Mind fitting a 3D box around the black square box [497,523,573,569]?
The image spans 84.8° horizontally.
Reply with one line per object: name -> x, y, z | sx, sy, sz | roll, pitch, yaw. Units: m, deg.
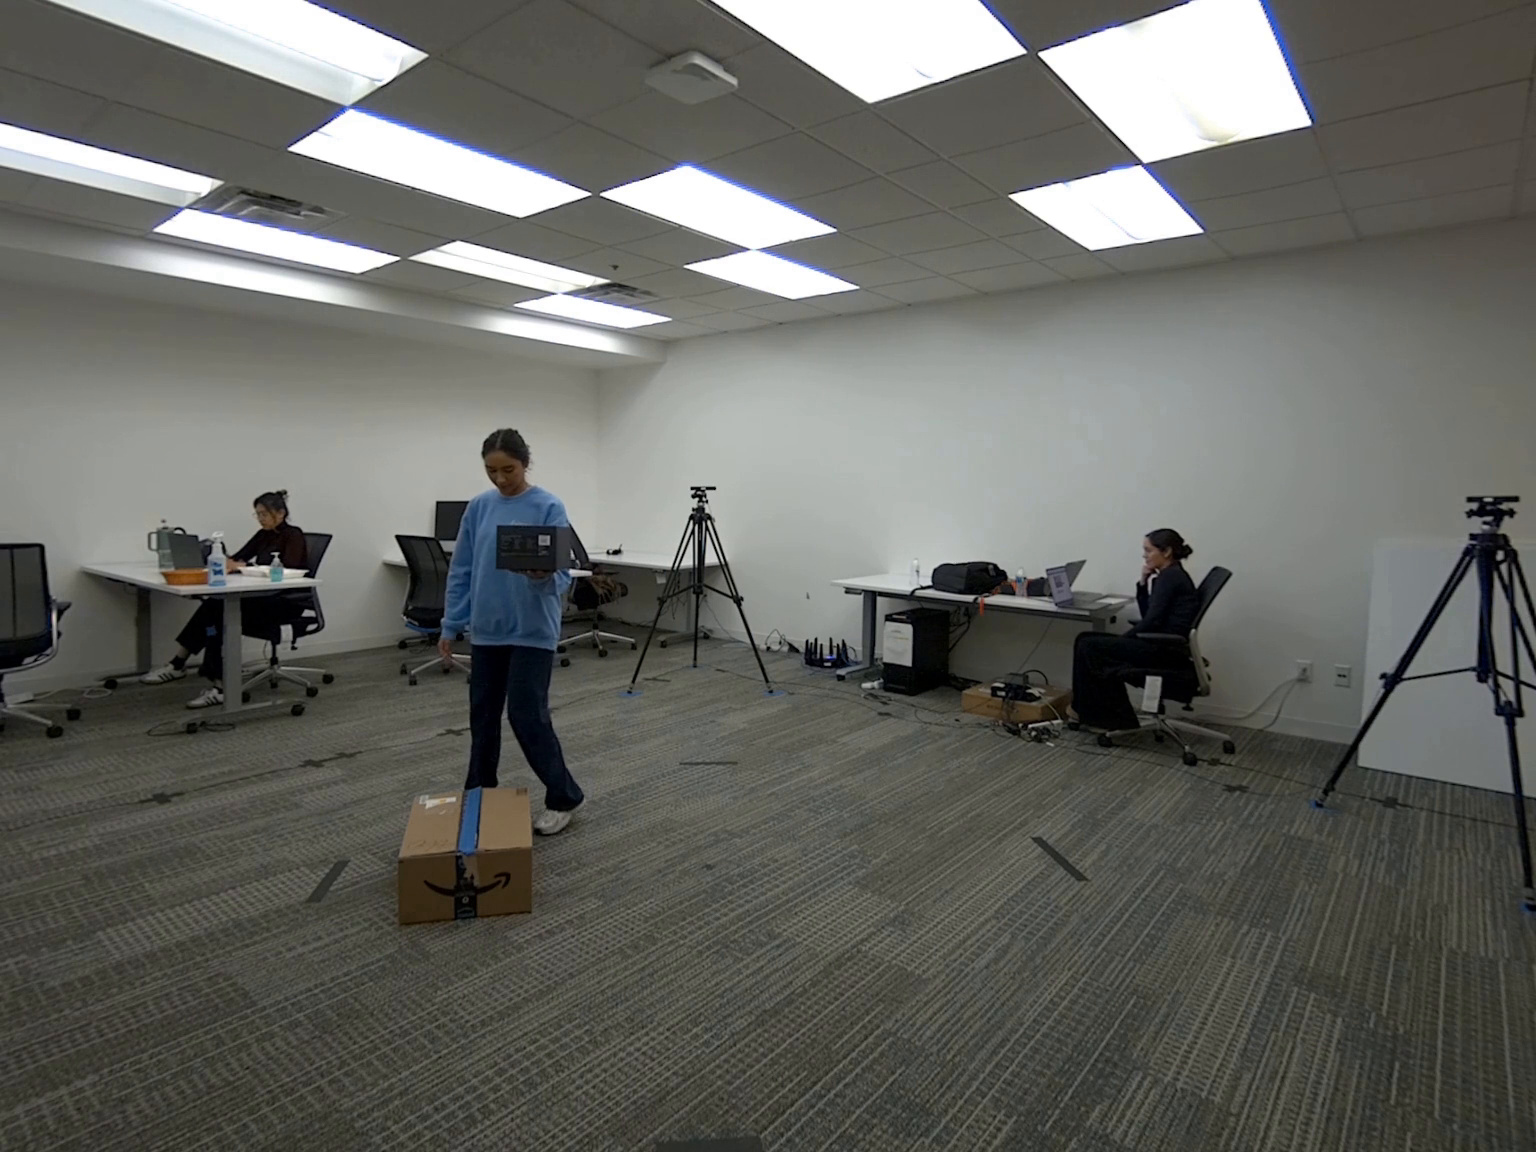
black square box -> -0.853, -0.113, 3.079 | 0.217, 0.156, 0.228 | -1, 2, 1
